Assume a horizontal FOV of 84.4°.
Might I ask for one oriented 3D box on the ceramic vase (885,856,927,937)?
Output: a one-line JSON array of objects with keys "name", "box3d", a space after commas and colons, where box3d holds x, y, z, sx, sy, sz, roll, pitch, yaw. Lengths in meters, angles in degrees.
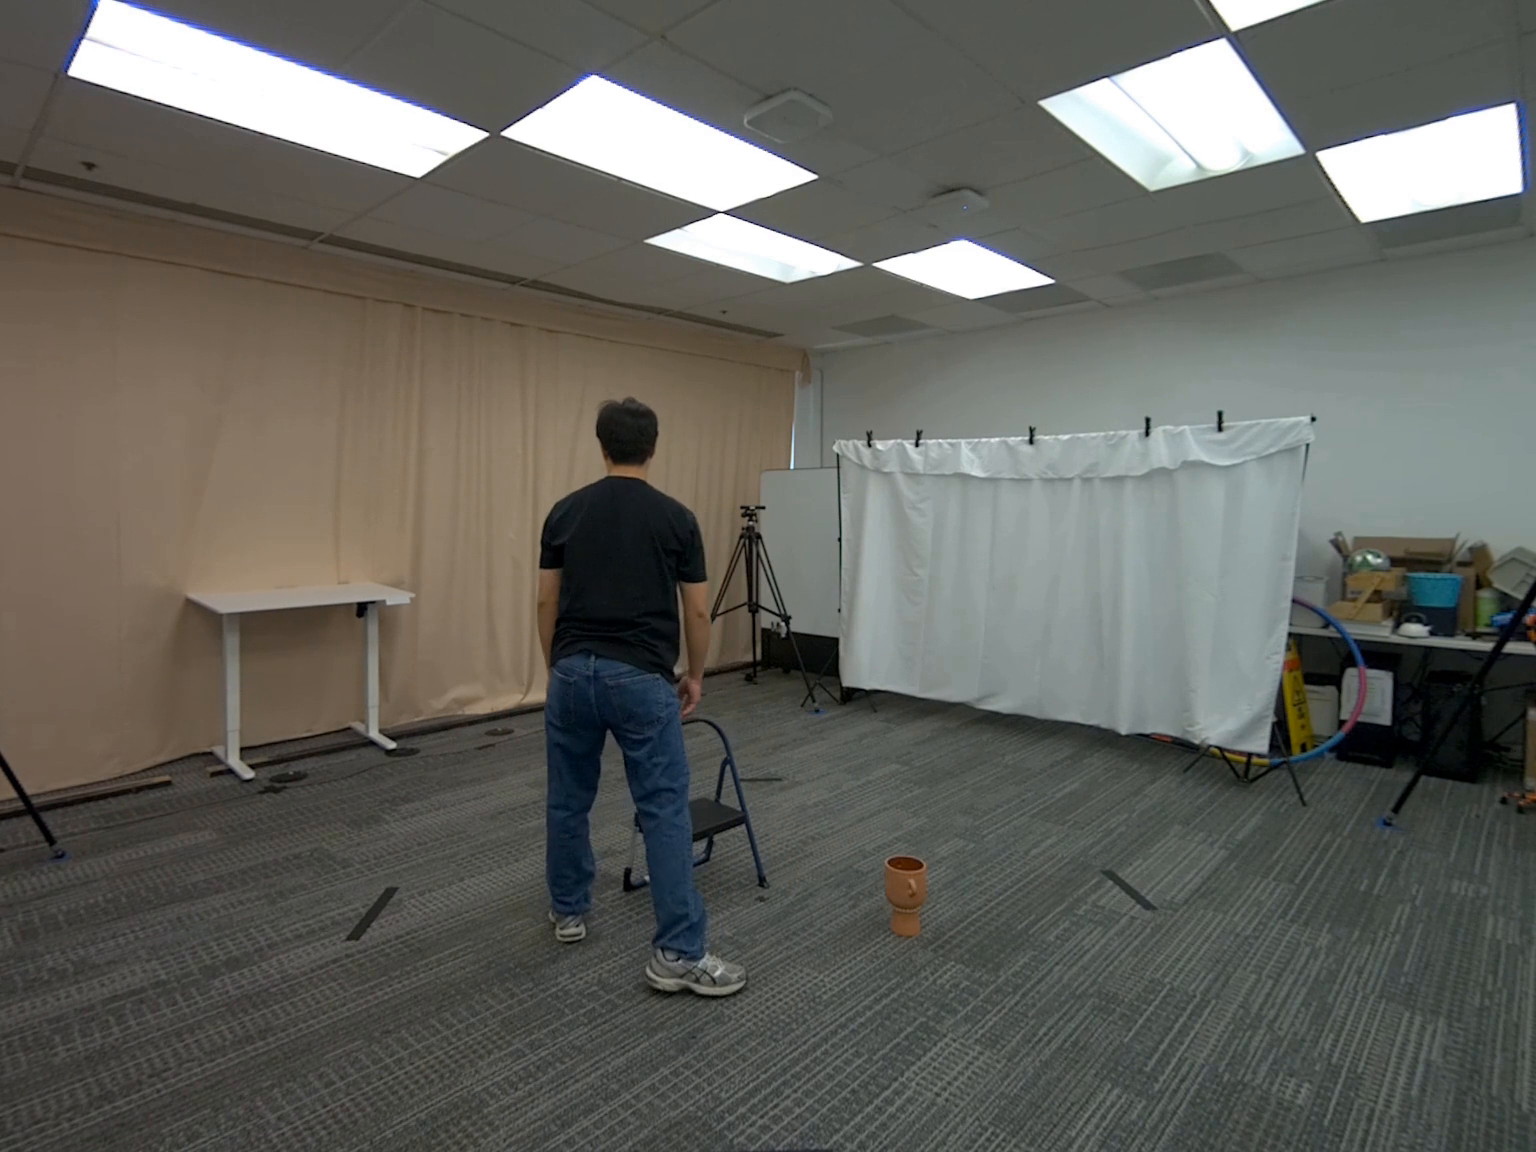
[{"name": "ceramic vase", "box3d": [0.454, 1.049, 2.752, 0.139, 0.219, 0.154, 2, 5, 32]}]
